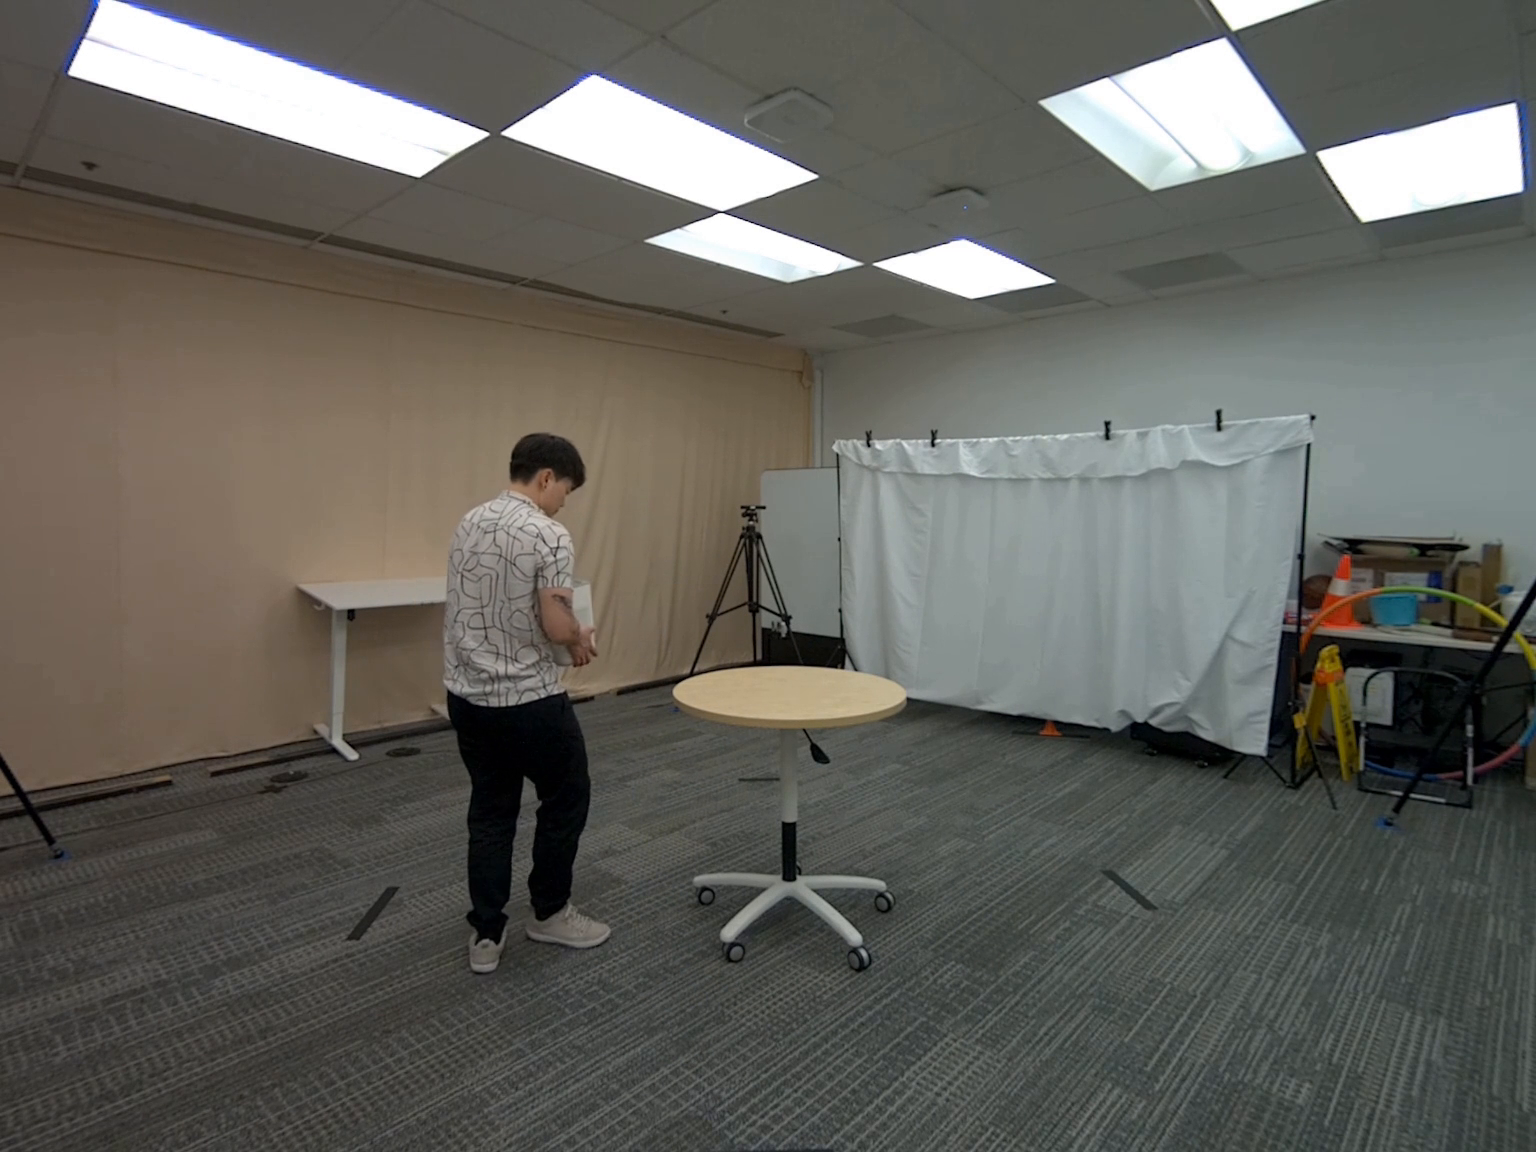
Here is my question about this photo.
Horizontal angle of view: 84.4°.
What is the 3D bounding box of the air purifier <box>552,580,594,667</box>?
[{"bbox_3d":[-0.675,0.158,2.825,0.176,0.264,0.168,-1,8,28],"label":"air purifier"}]
